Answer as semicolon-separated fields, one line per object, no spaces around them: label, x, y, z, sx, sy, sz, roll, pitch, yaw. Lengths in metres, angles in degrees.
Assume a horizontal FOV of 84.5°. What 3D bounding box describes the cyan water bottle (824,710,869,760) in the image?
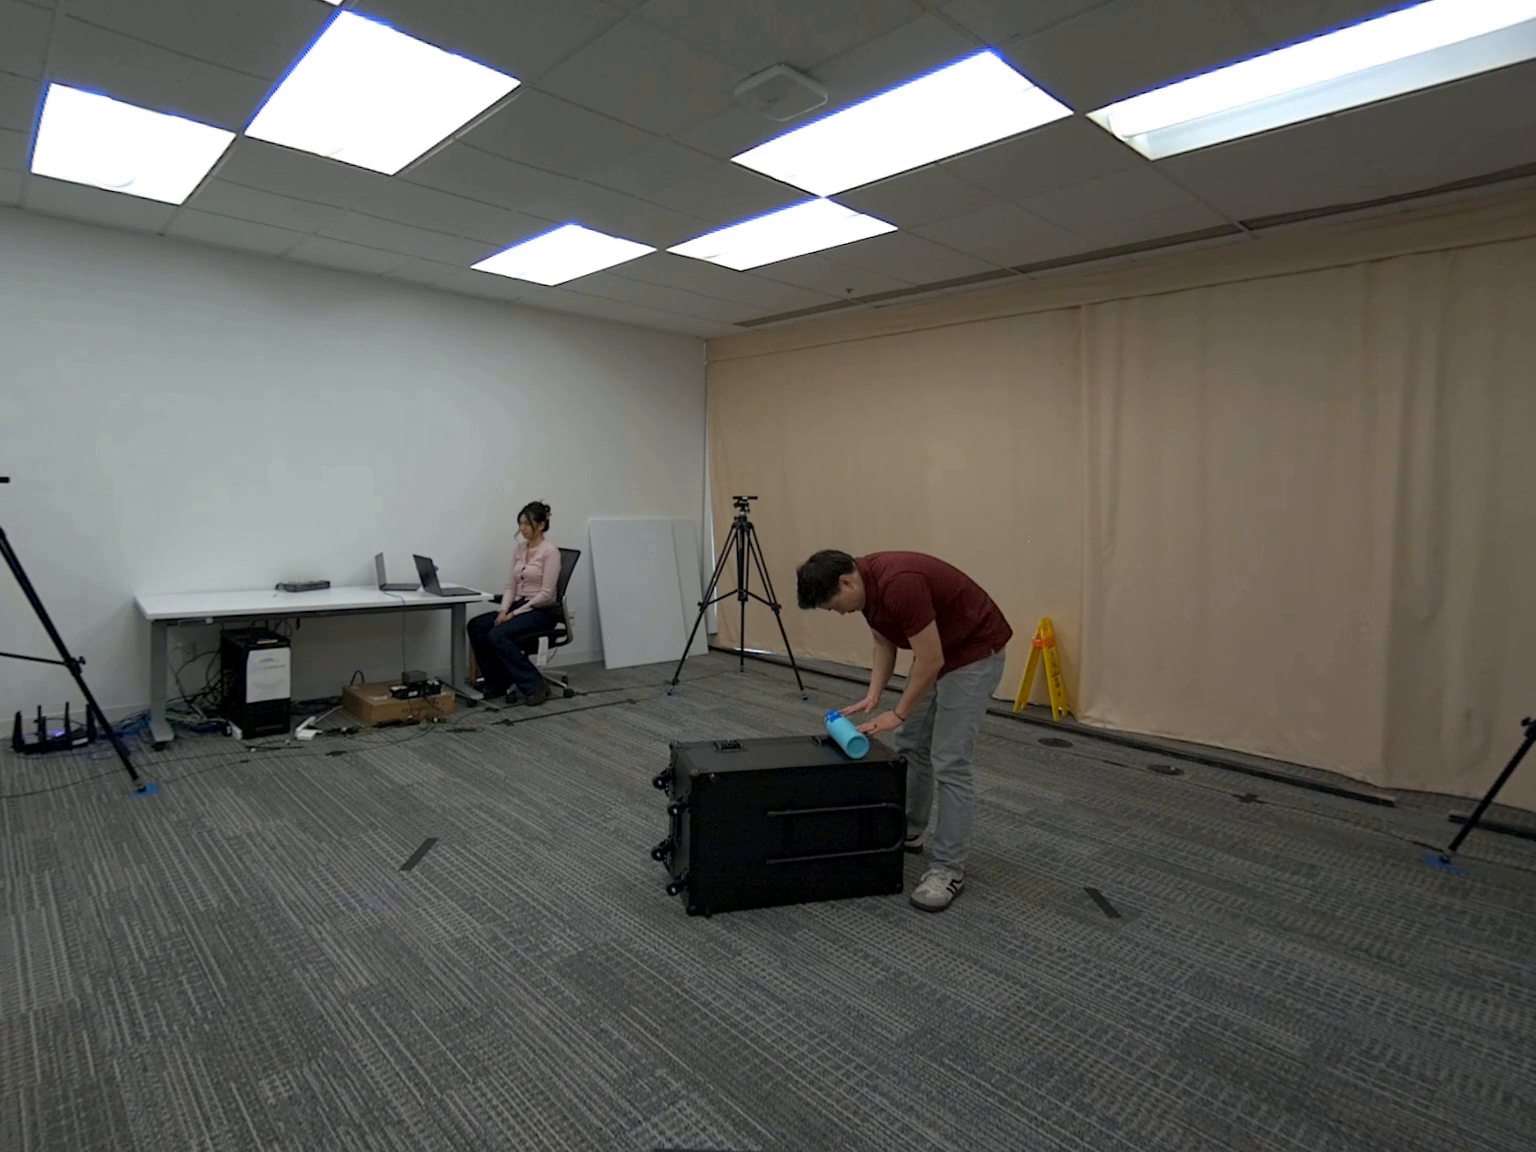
cyan water bottle;0.271;0.570;3.076;0.091;0.092;0.288;0;10;-13
